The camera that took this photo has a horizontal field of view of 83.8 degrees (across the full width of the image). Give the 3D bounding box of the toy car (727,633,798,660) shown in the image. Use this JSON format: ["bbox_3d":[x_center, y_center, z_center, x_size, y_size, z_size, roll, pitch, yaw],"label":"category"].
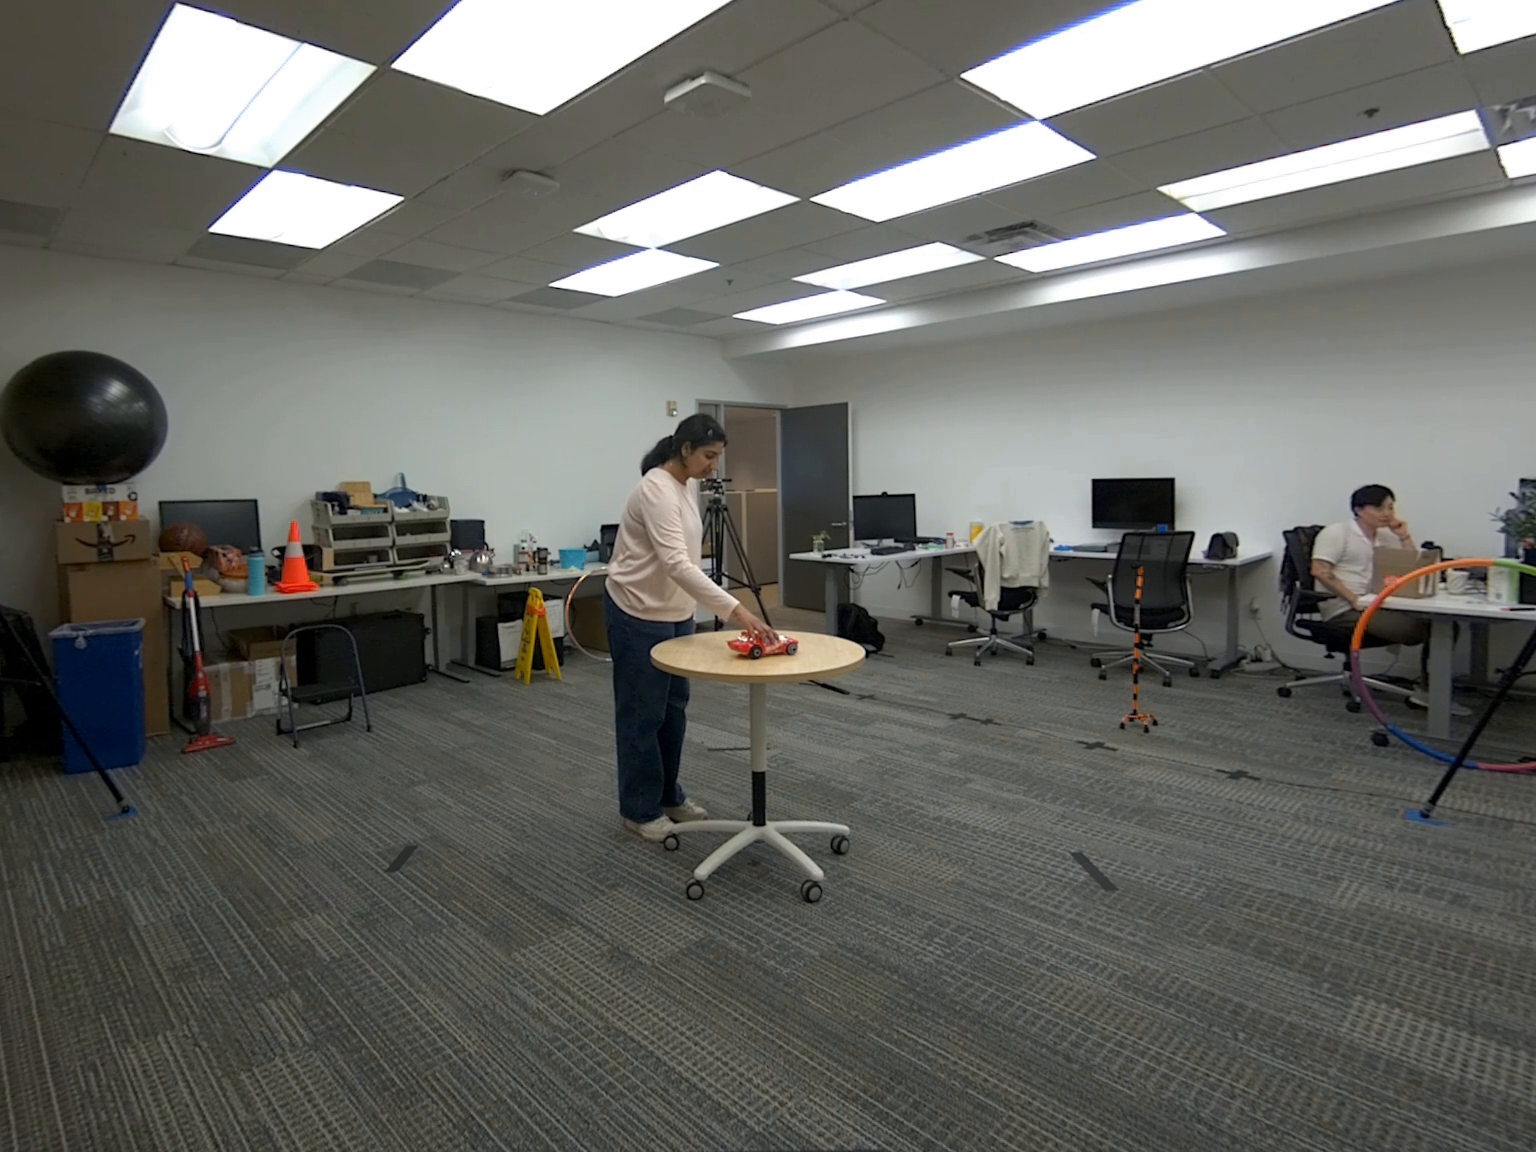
[{"bbox_3d":[-0.021,0.244,2.973,0.248,0.083,0.134,9,1,-27],"label":"toy car"}]
